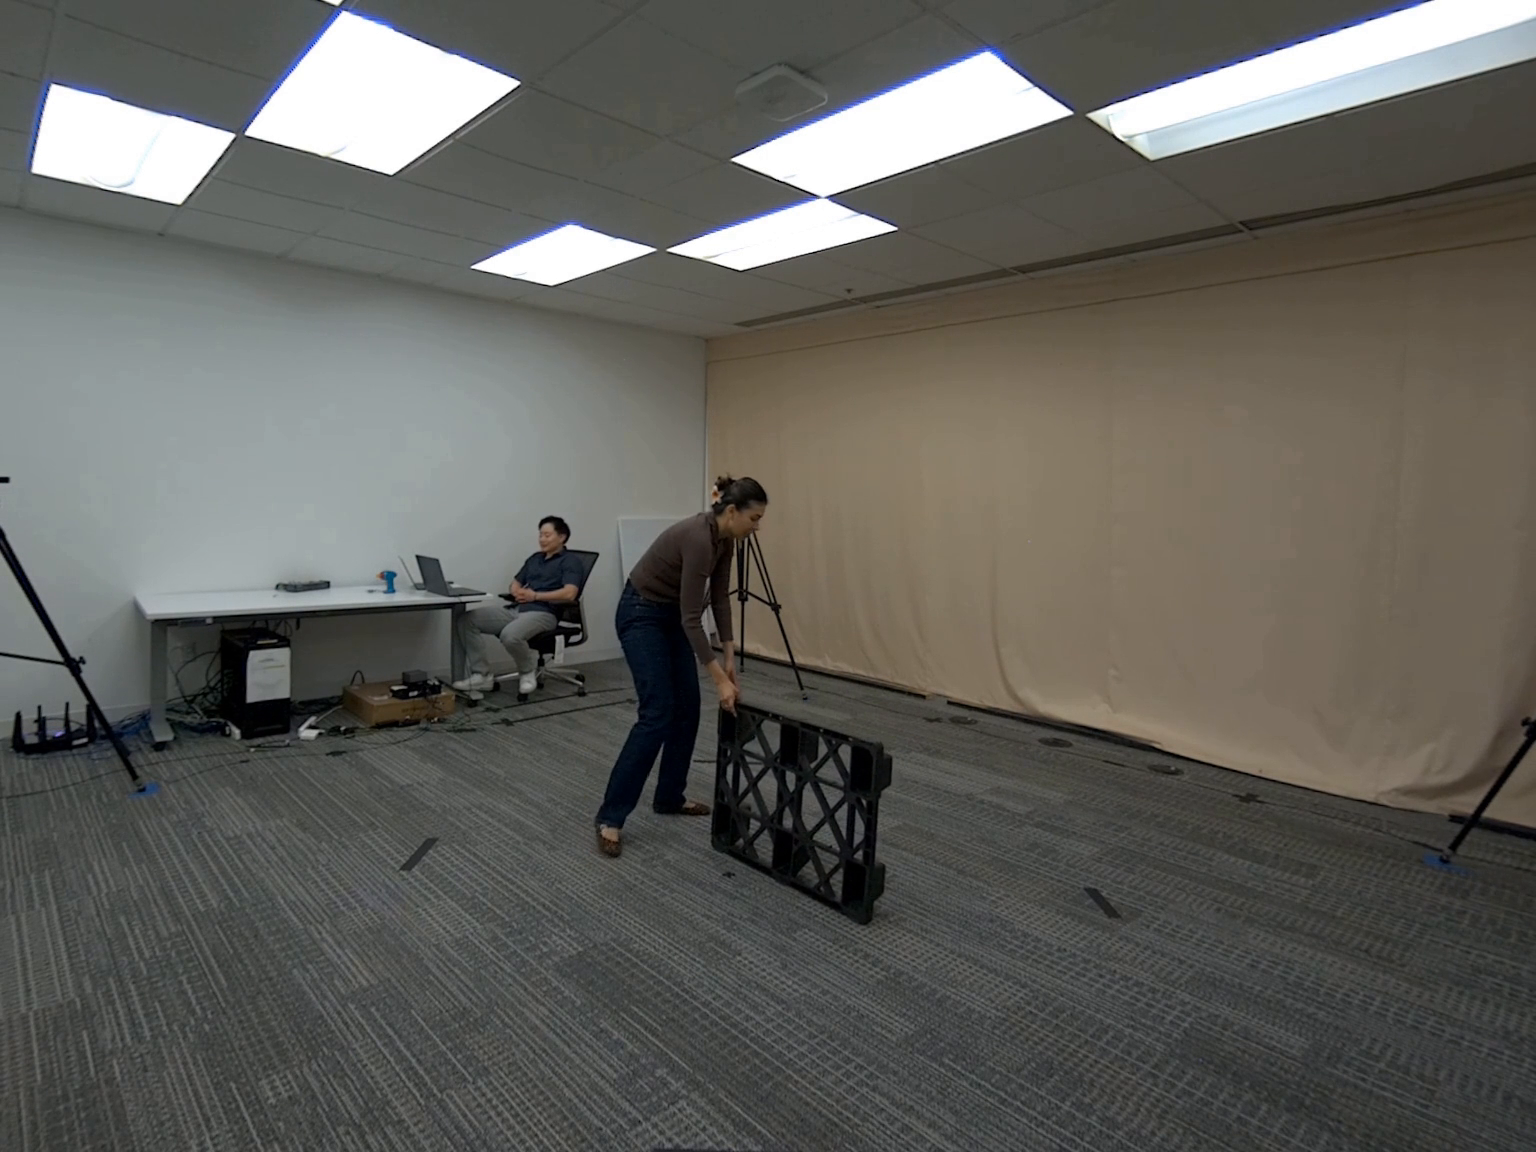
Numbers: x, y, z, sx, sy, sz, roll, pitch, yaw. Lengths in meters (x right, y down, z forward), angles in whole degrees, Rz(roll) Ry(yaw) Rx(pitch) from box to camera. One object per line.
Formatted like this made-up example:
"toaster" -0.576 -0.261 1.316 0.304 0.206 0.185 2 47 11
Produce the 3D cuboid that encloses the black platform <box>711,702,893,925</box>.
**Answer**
"black platform" 0.107 0.818 3.074 0.140 0.604 0.826 2 3 -42
